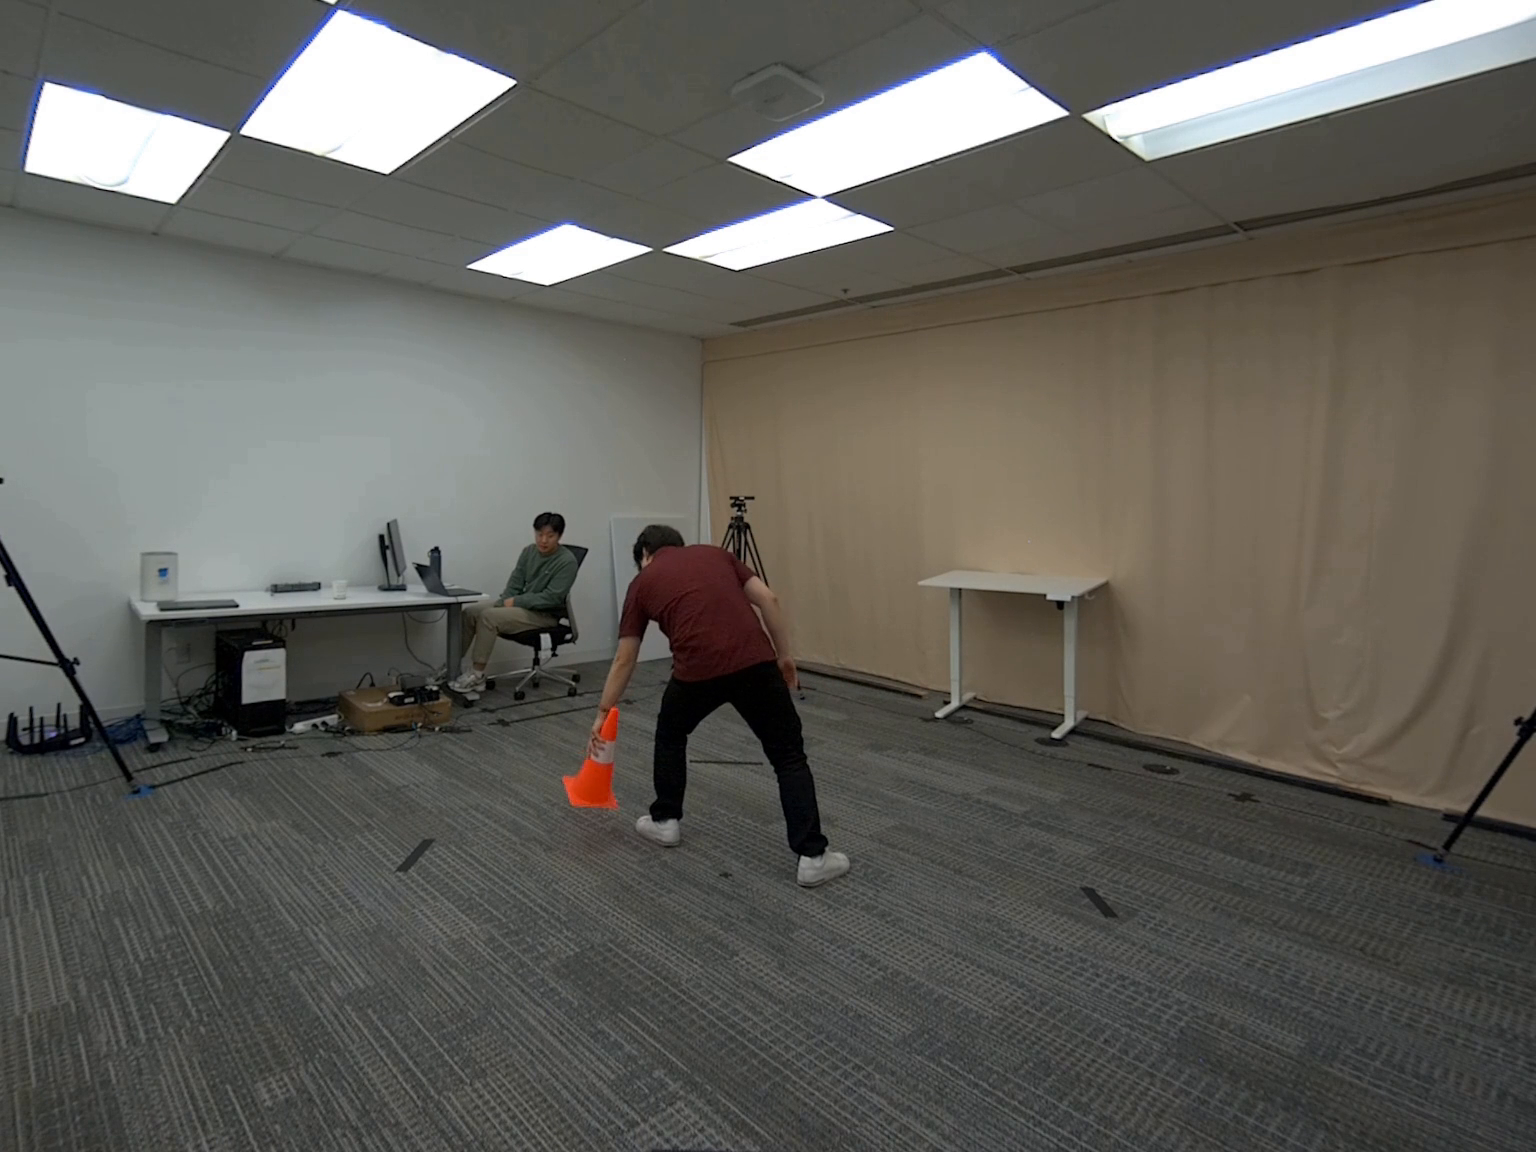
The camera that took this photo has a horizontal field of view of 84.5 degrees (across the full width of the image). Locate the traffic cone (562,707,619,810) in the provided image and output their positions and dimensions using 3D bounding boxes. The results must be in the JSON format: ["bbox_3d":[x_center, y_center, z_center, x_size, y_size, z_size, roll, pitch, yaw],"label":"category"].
[{"bbox_3d":[-0.661,0.698,3.356,0.200,0.381,0.209,10,16,-33],"label":"traffic cone"}]
